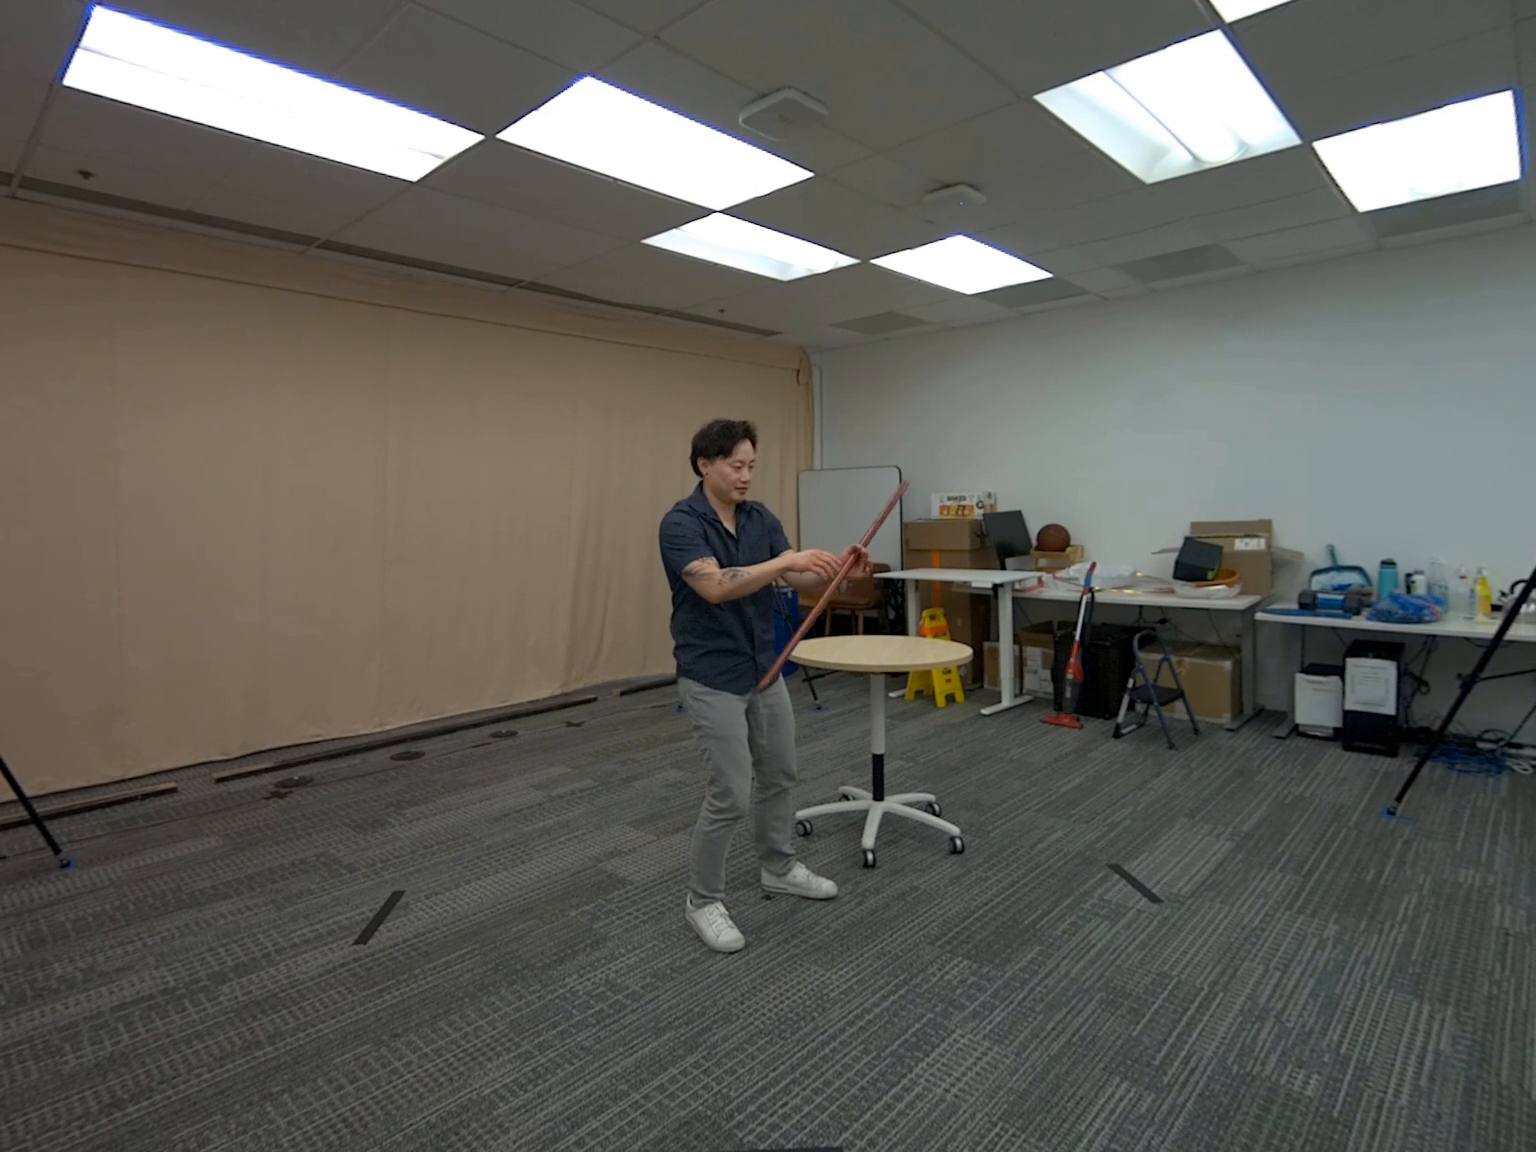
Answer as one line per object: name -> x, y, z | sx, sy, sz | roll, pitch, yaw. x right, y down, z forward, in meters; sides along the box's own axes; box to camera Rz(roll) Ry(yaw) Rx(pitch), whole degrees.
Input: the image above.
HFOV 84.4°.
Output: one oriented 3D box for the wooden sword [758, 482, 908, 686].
wooden sword -> 0.252, -0.031, 2.494 | 0.053, 0.023, 1.015 | -7, 29, 41
